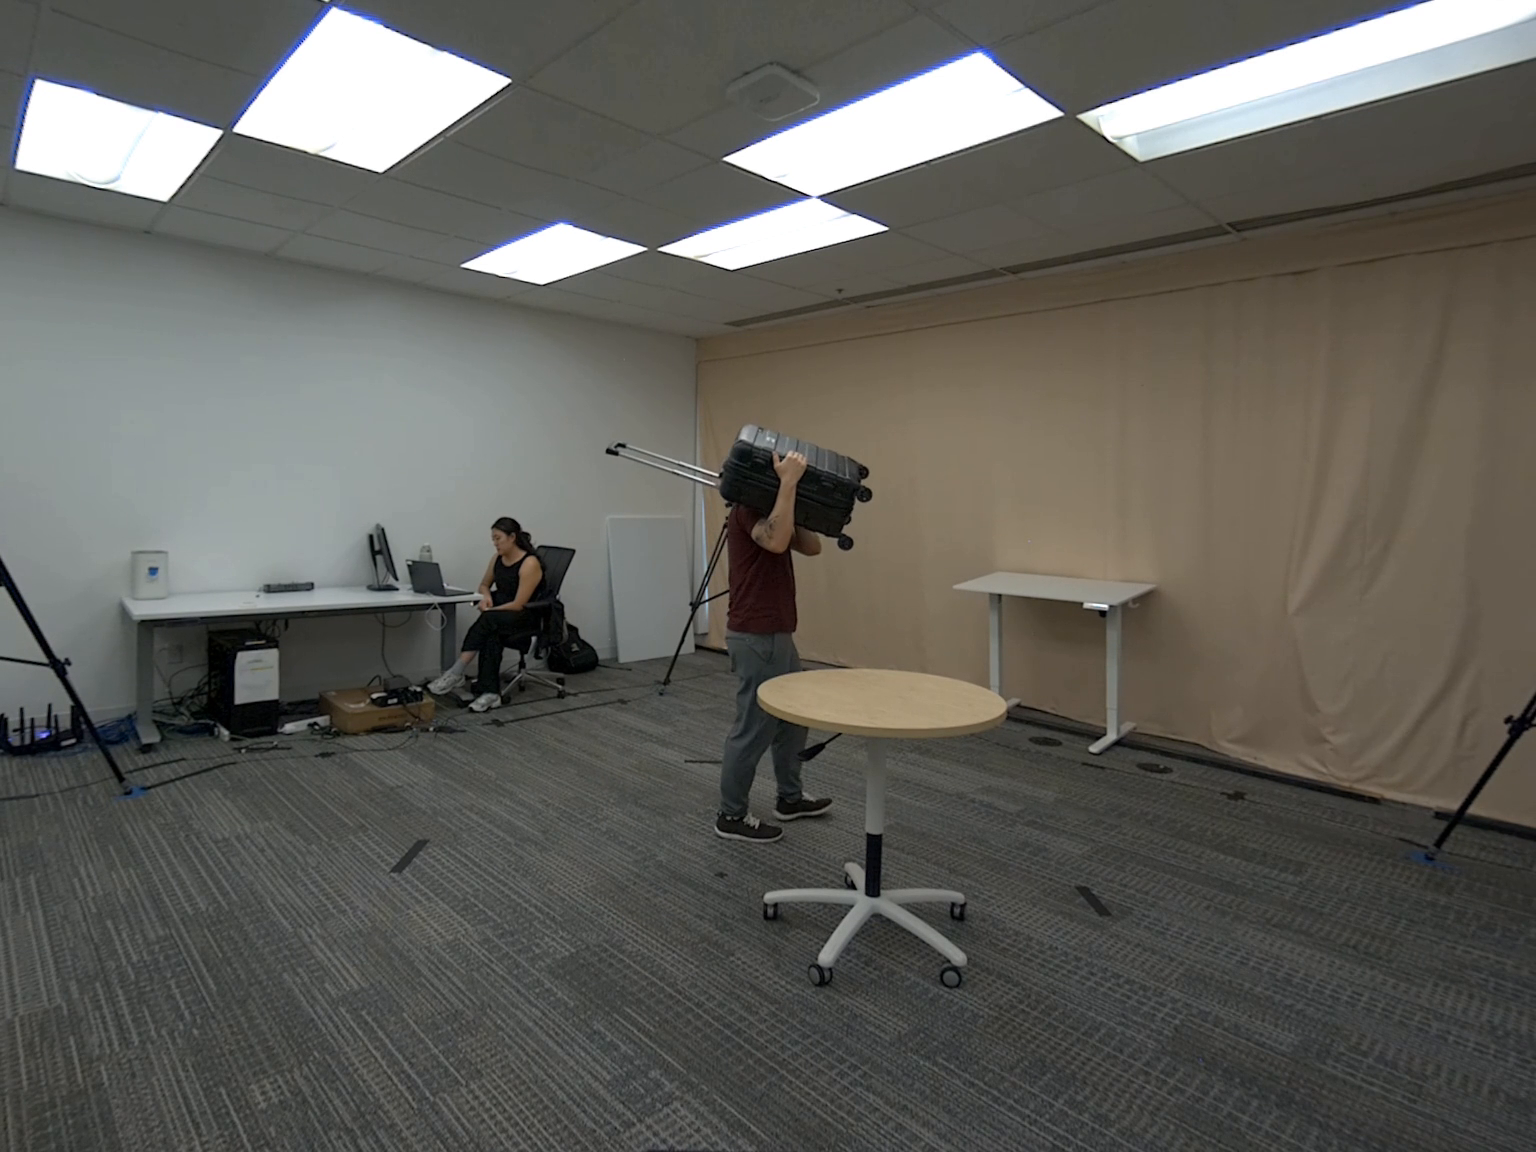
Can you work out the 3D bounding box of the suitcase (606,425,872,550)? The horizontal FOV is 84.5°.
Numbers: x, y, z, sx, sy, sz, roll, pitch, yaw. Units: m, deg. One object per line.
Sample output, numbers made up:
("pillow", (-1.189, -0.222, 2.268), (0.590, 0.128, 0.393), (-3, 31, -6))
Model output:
("suitcase", (-0.104, -0.436, 3.190), (0.977, 0.255, 0.388), (20, 22, -1))
